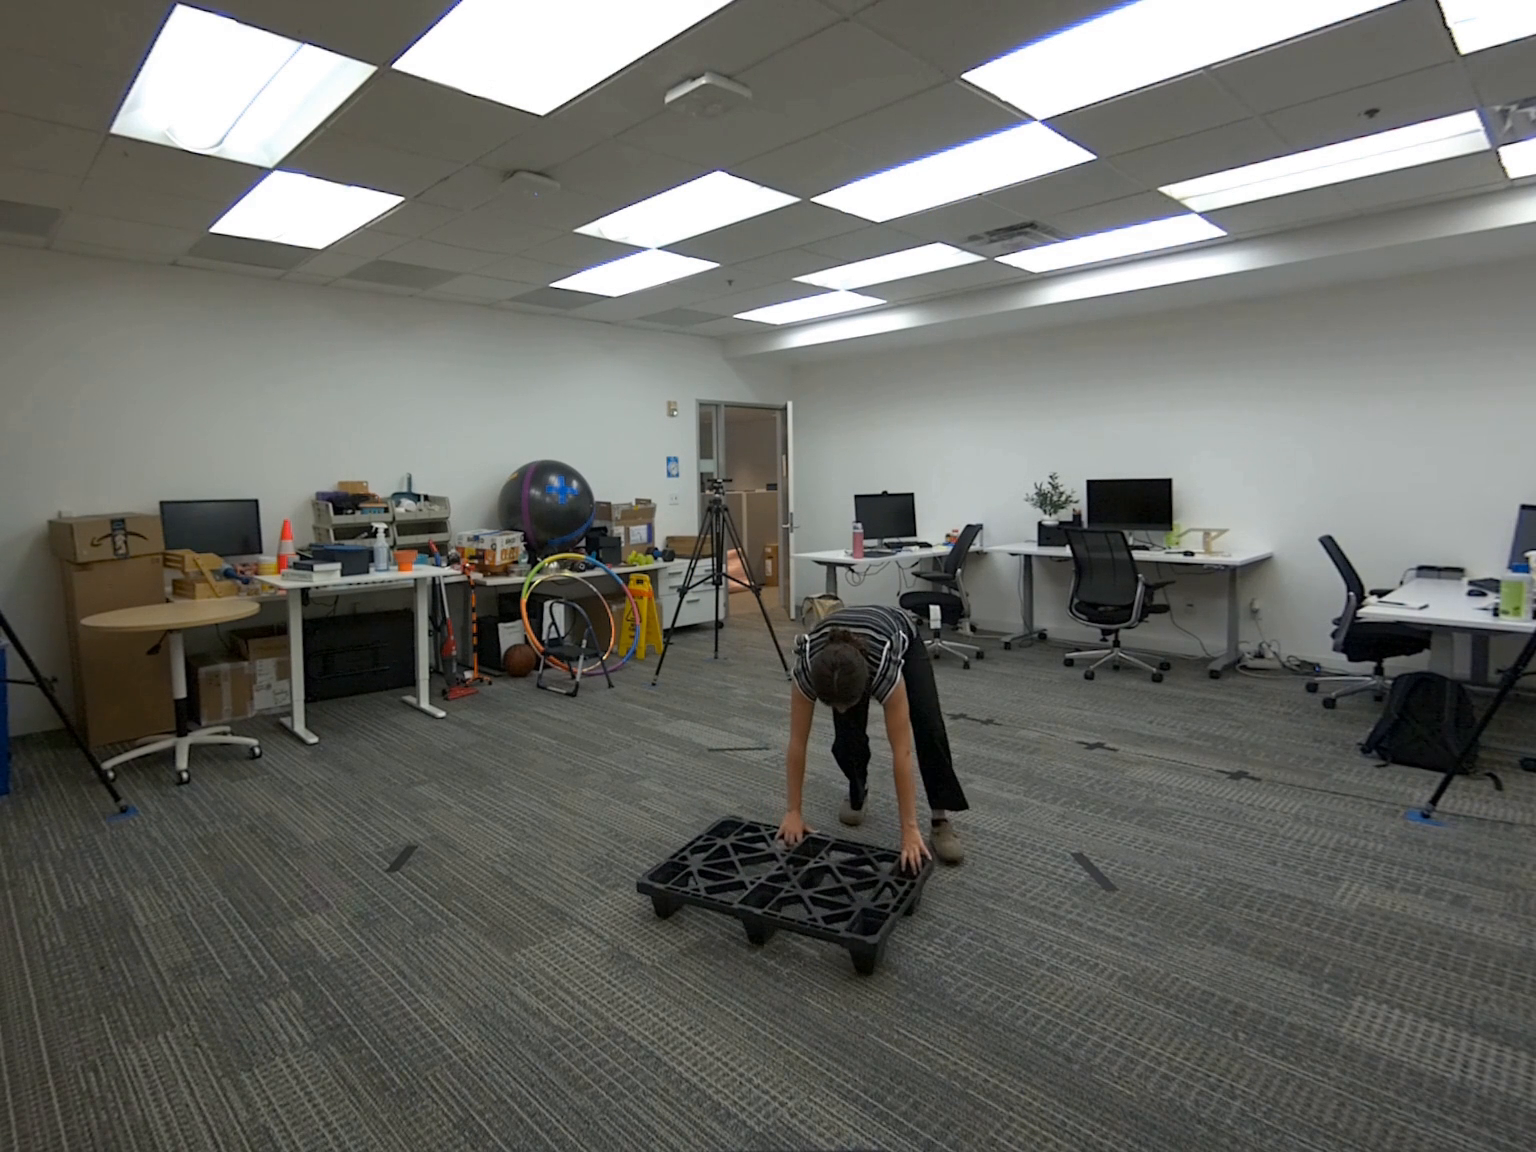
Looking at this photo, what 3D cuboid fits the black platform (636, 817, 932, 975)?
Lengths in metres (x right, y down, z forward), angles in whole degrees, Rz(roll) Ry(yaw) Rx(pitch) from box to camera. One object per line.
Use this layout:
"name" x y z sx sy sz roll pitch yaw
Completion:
"black platform" 0.068 1.012 2.765 0.826 0.142 0.593 2 8 28
